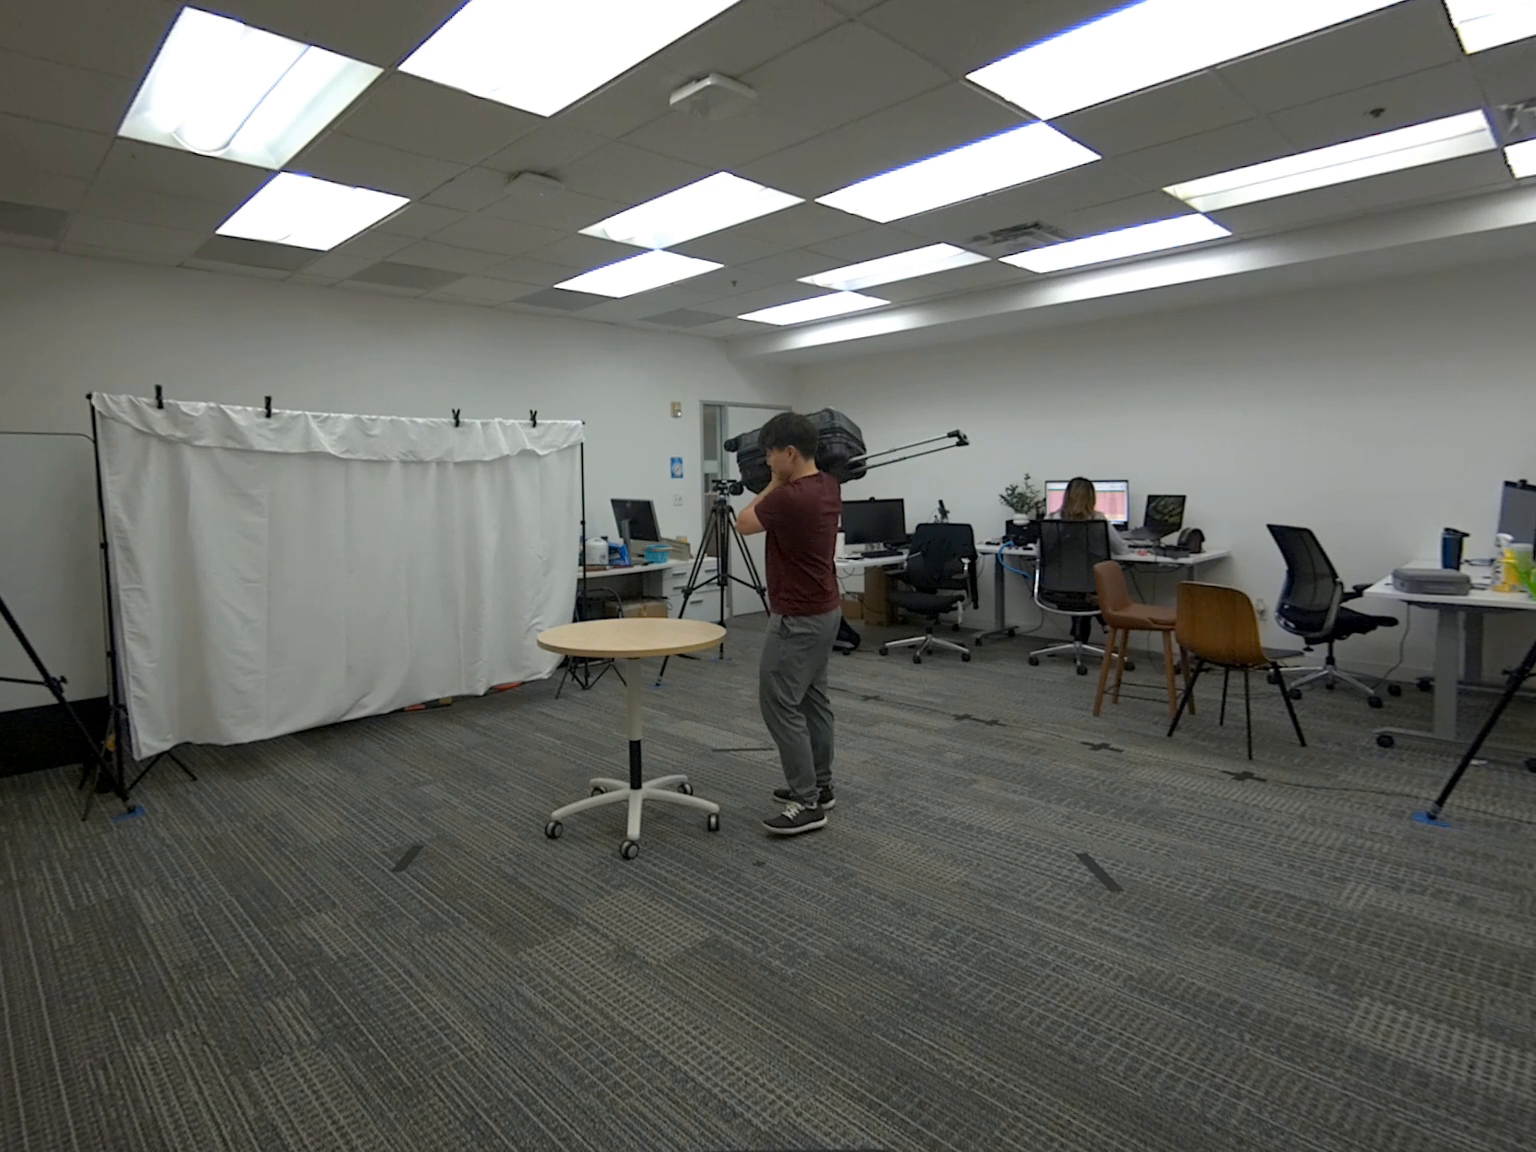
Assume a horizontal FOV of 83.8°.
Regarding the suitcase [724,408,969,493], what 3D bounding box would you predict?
[{"bbox_3d":[0.316,-0.566,3.616,0.995,0.261,0.371,-14,-17,26],"label":"suitcase"}]
